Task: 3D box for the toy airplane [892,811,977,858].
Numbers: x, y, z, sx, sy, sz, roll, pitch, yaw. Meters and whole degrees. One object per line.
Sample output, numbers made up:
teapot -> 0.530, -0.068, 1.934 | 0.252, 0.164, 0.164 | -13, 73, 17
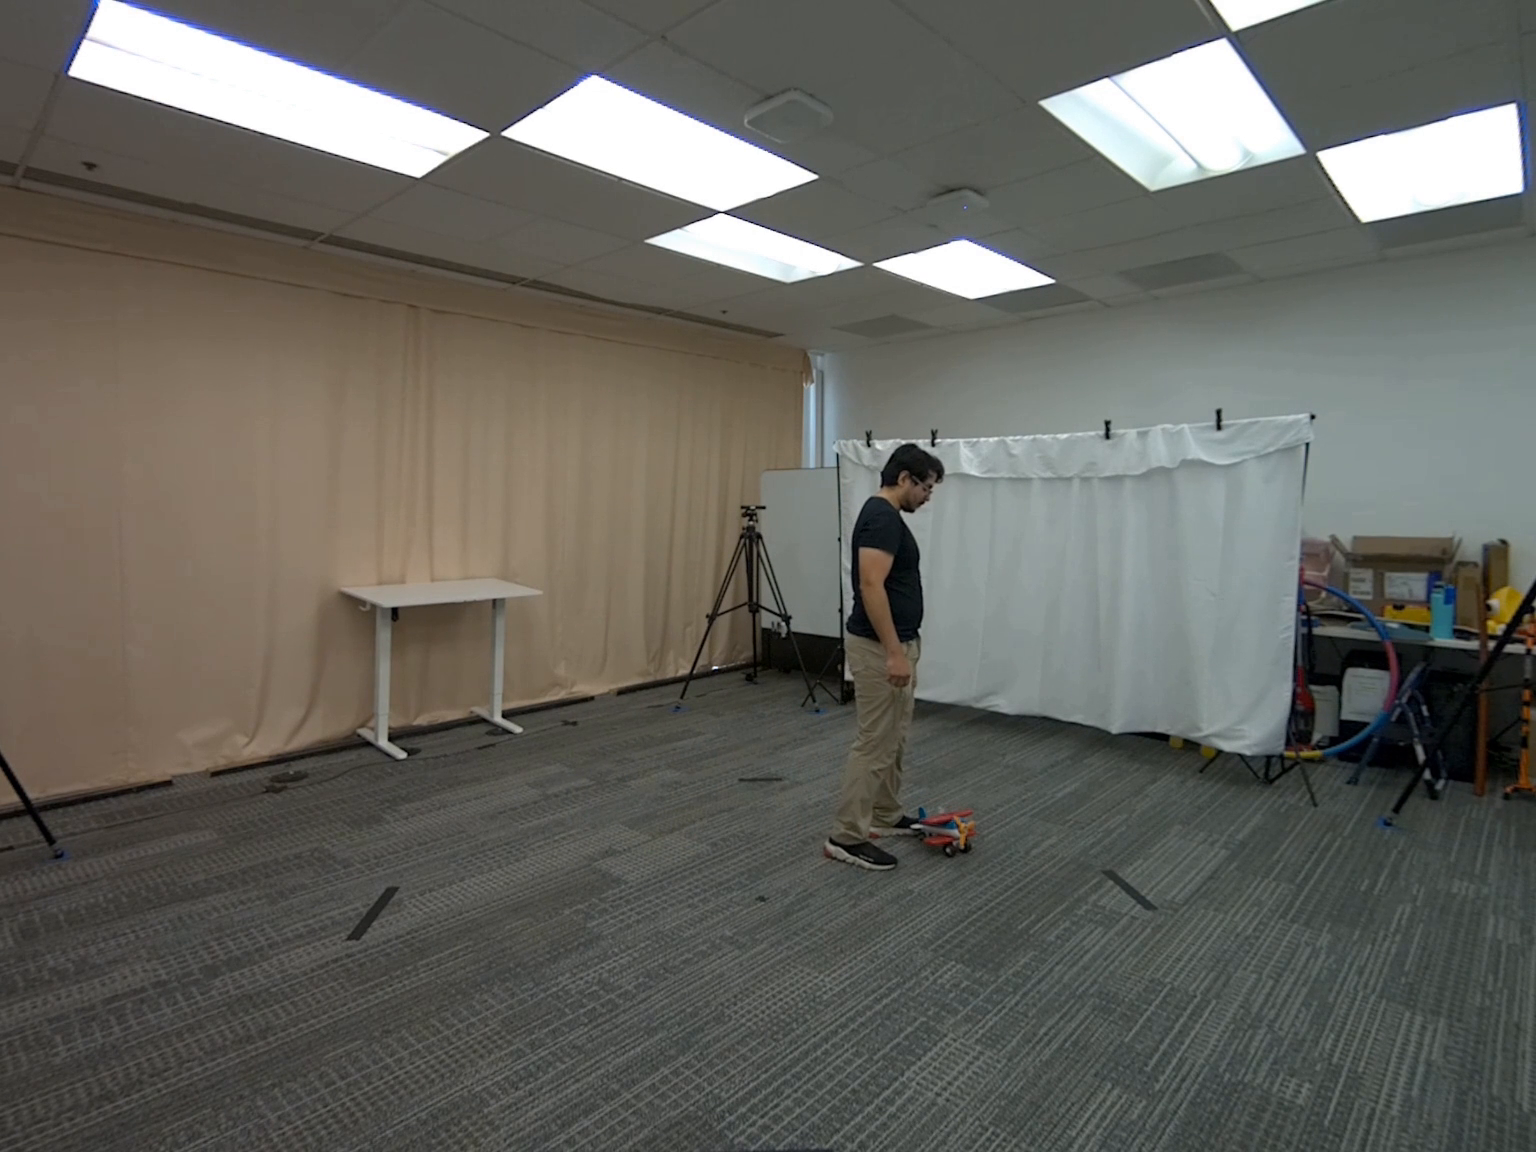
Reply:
toy airplane -> 0.703, 1.033, 3.417 | 0.267, 0.156, 0.244 | 4, 4, 29
